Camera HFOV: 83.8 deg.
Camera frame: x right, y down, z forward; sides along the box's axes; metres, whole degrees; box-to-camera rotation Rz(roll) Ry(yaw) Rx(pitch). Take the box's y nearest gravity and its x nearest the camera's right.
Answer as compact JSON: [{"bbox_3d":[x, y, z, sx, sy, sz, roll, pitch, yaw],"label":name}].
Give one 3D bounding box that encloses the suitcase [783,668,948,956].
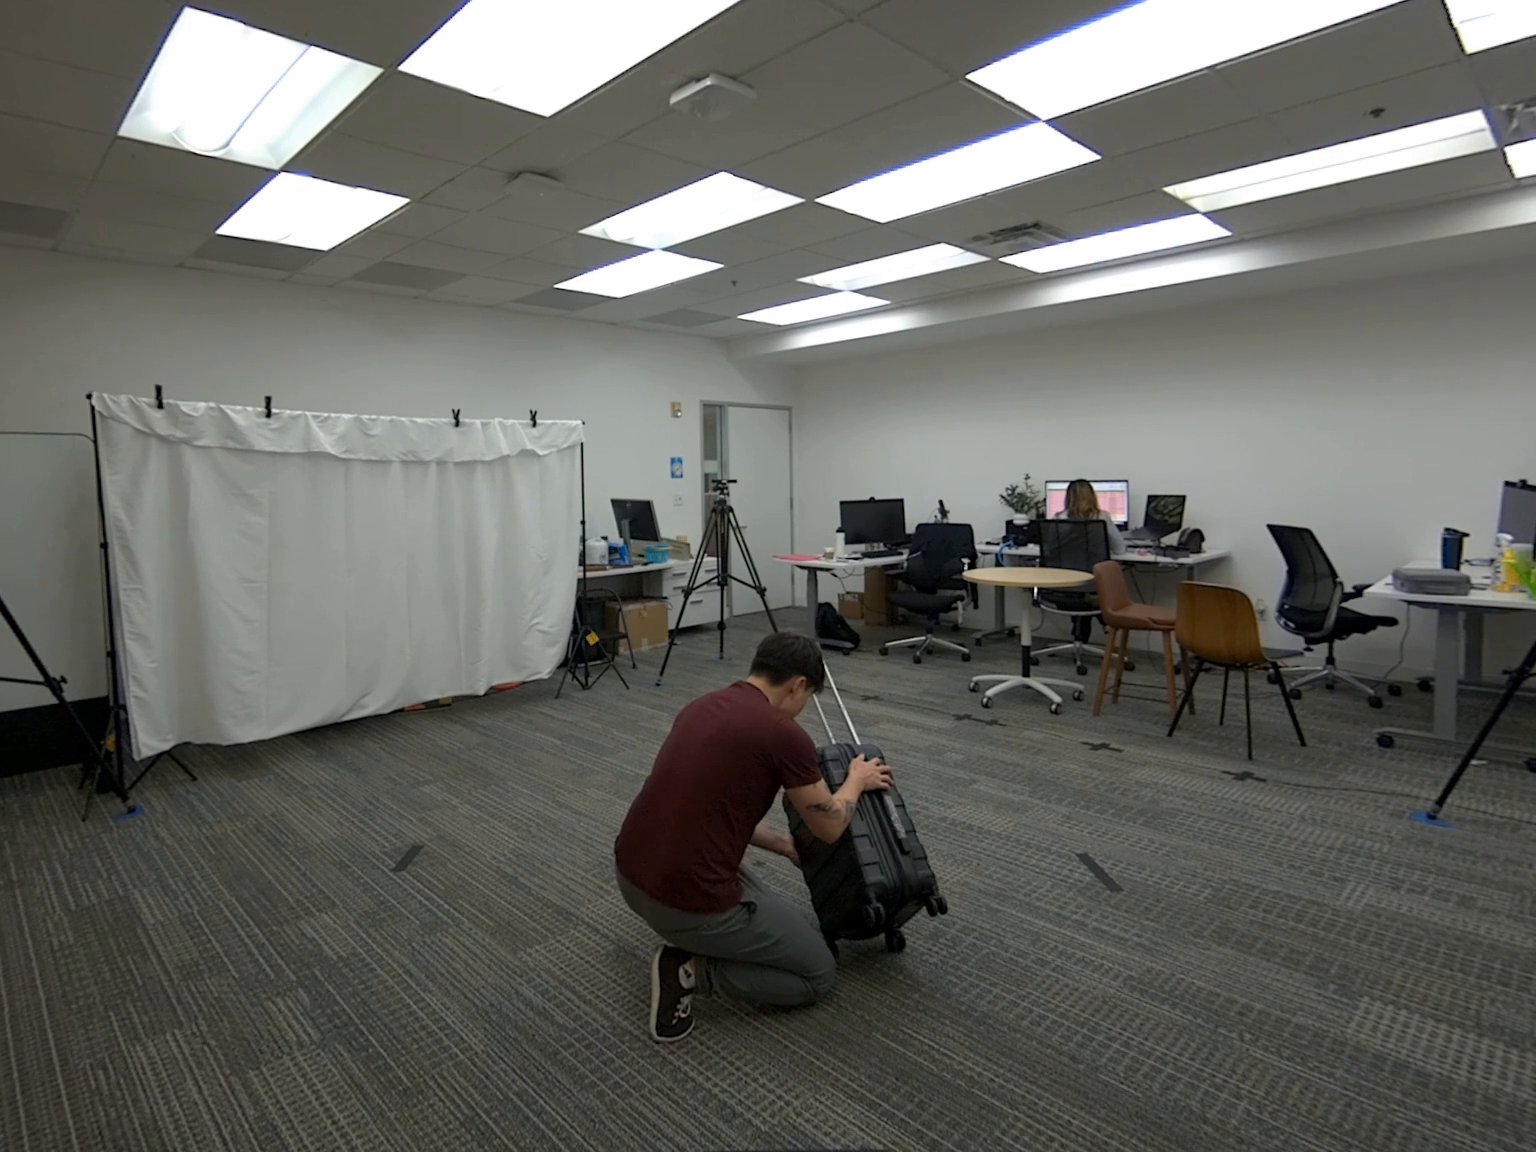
[{"bbox_3d":[0.211,0.648,2.705,0.251,0.379,1.013,1,46,-25],"label":"suitcase"}]
